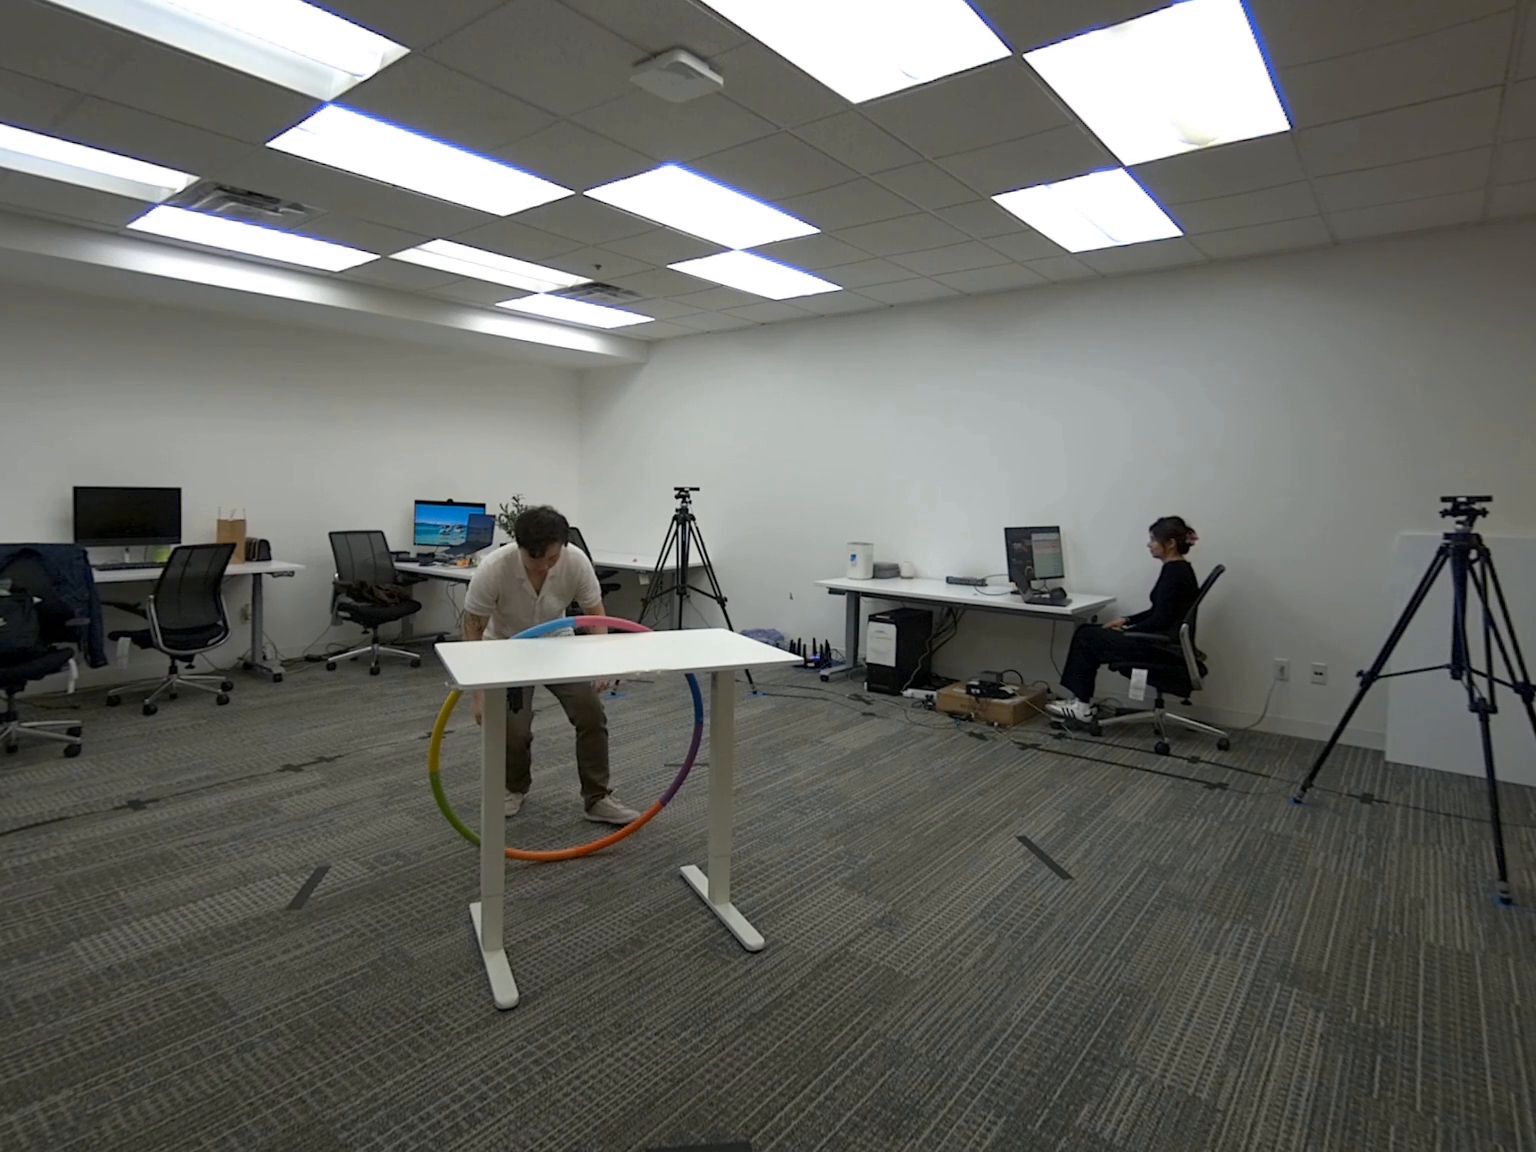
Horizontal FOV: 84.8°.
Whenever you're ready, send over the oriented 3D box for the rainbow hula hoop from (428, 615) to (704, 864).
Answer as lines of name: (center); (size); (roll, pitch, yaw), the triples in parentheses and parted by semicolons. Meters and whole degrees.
rainbow hula hoop: (-0.706, 0.588, 3.037); (0.956, 0.965, 0.037); (-1, 19, -25)
